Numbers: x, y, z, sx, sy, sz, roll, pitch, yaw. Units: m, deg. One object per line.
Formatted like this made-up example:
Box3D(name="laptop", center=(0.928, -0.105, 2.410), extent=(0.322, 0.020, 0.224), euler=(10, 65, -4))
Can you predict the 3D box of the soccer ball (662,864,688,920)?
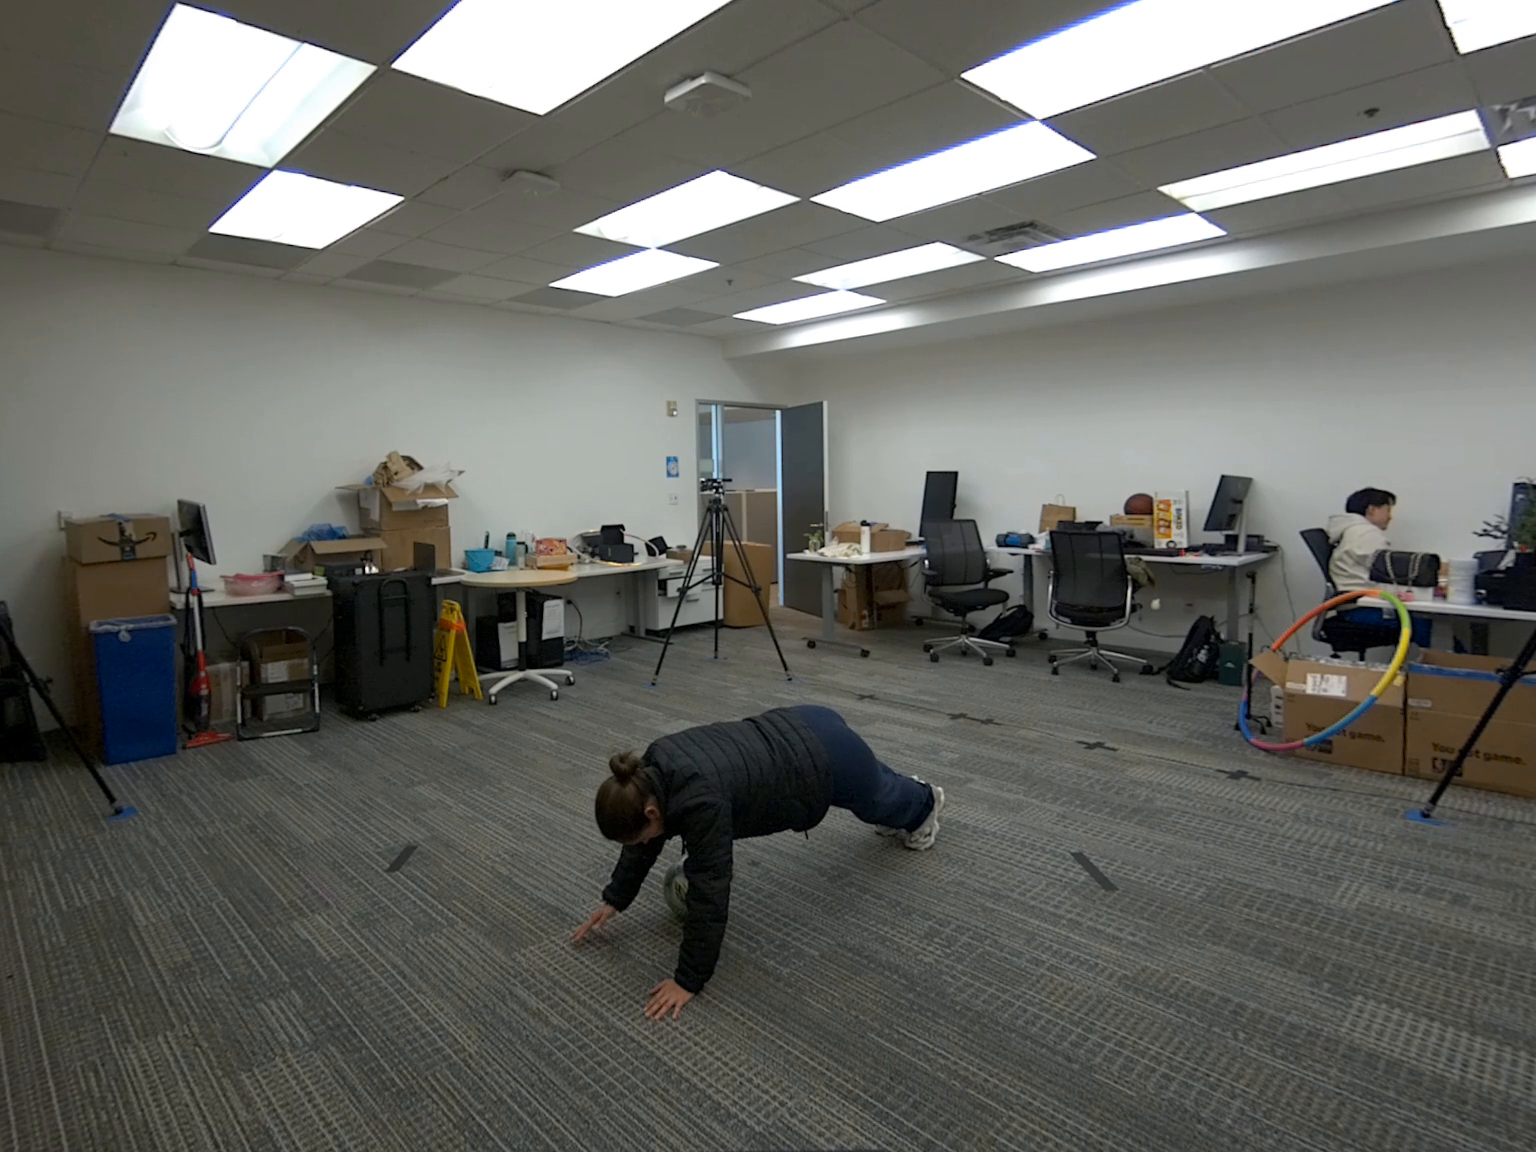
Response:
Box3D(name="soccer ball", center=(-0.241, 0.997, 2.740), extent=(0.187, 0.187, 0.188), euler=(-1, 5, -2))
